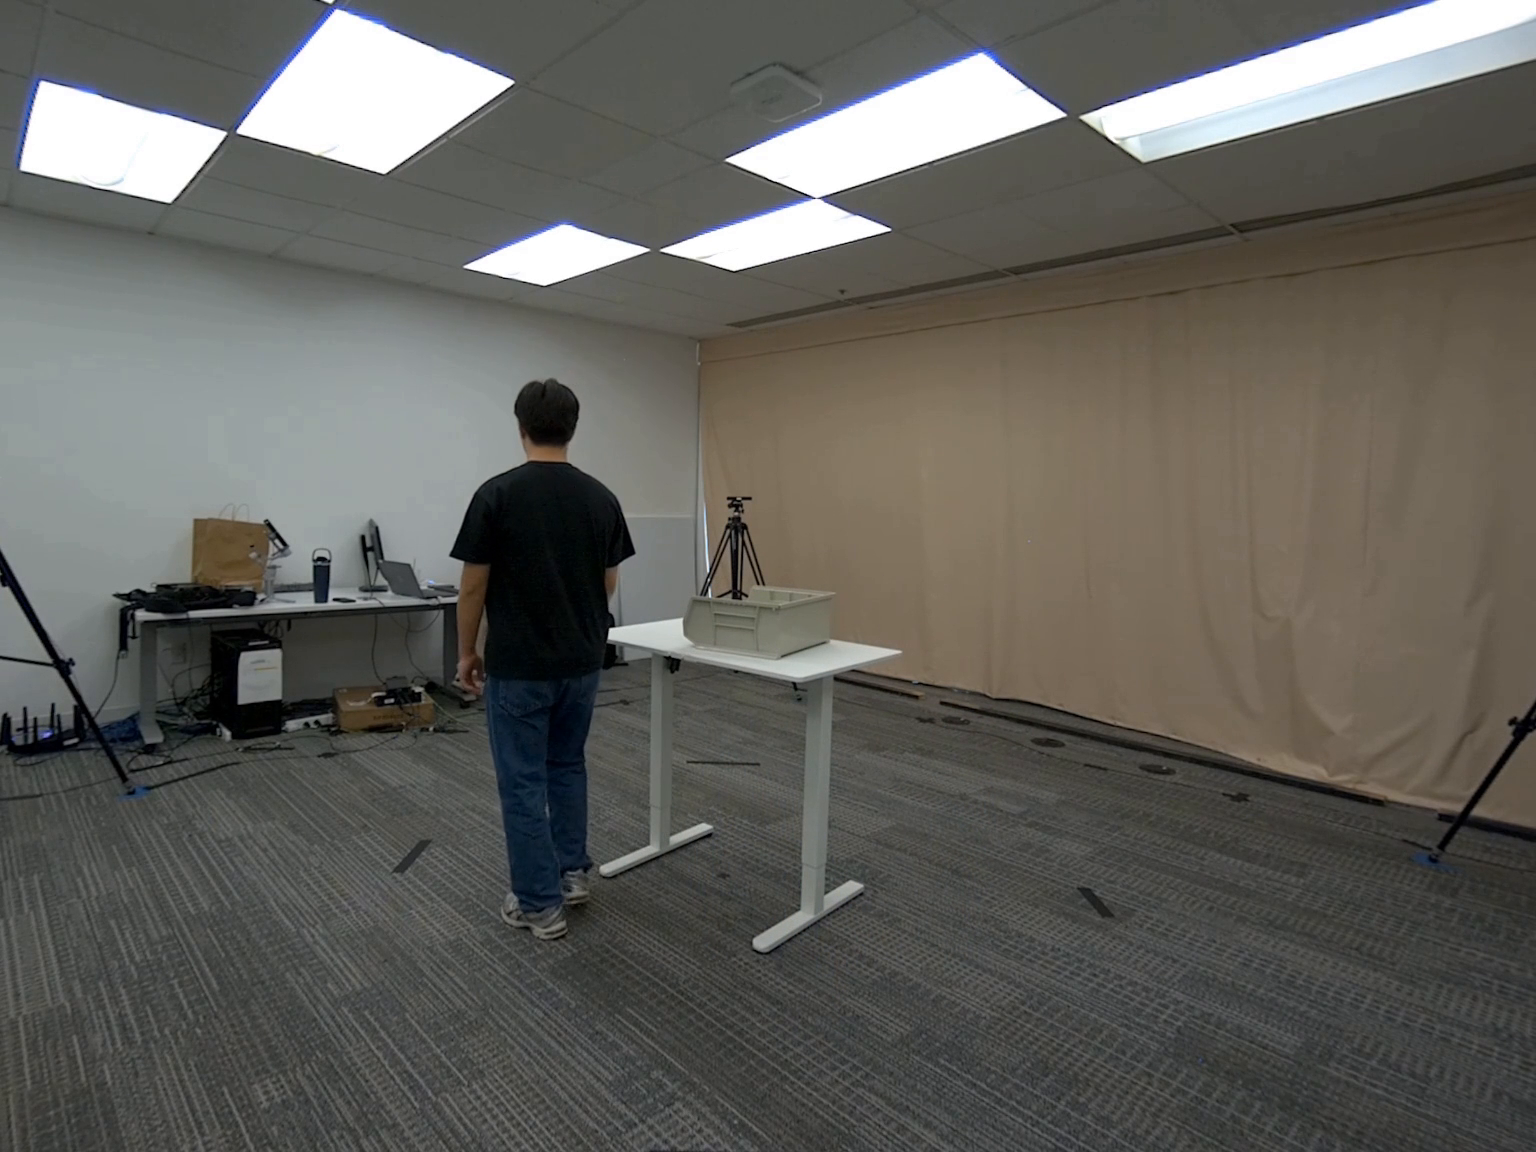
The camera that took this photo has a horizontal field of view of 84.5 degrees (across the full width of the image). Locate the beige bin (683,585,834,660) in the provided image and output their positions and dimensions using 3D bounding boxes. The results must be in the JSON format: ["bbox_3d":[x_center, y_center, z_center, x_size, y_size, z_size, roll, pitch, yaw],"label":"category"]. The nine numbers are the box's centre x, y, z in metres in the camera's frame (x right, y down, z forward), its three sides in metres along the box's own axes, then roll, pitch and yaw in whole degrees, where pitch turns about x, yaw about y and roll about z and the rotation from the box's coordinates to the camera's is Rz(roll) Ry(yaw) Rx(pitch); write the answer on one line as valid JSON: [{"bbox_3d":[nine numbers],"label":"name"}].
[{"bbox_3d":[-0.027,0.159,2.930,0.386,0.188,0.414,6,7,30],"label":"beige bin"}]
